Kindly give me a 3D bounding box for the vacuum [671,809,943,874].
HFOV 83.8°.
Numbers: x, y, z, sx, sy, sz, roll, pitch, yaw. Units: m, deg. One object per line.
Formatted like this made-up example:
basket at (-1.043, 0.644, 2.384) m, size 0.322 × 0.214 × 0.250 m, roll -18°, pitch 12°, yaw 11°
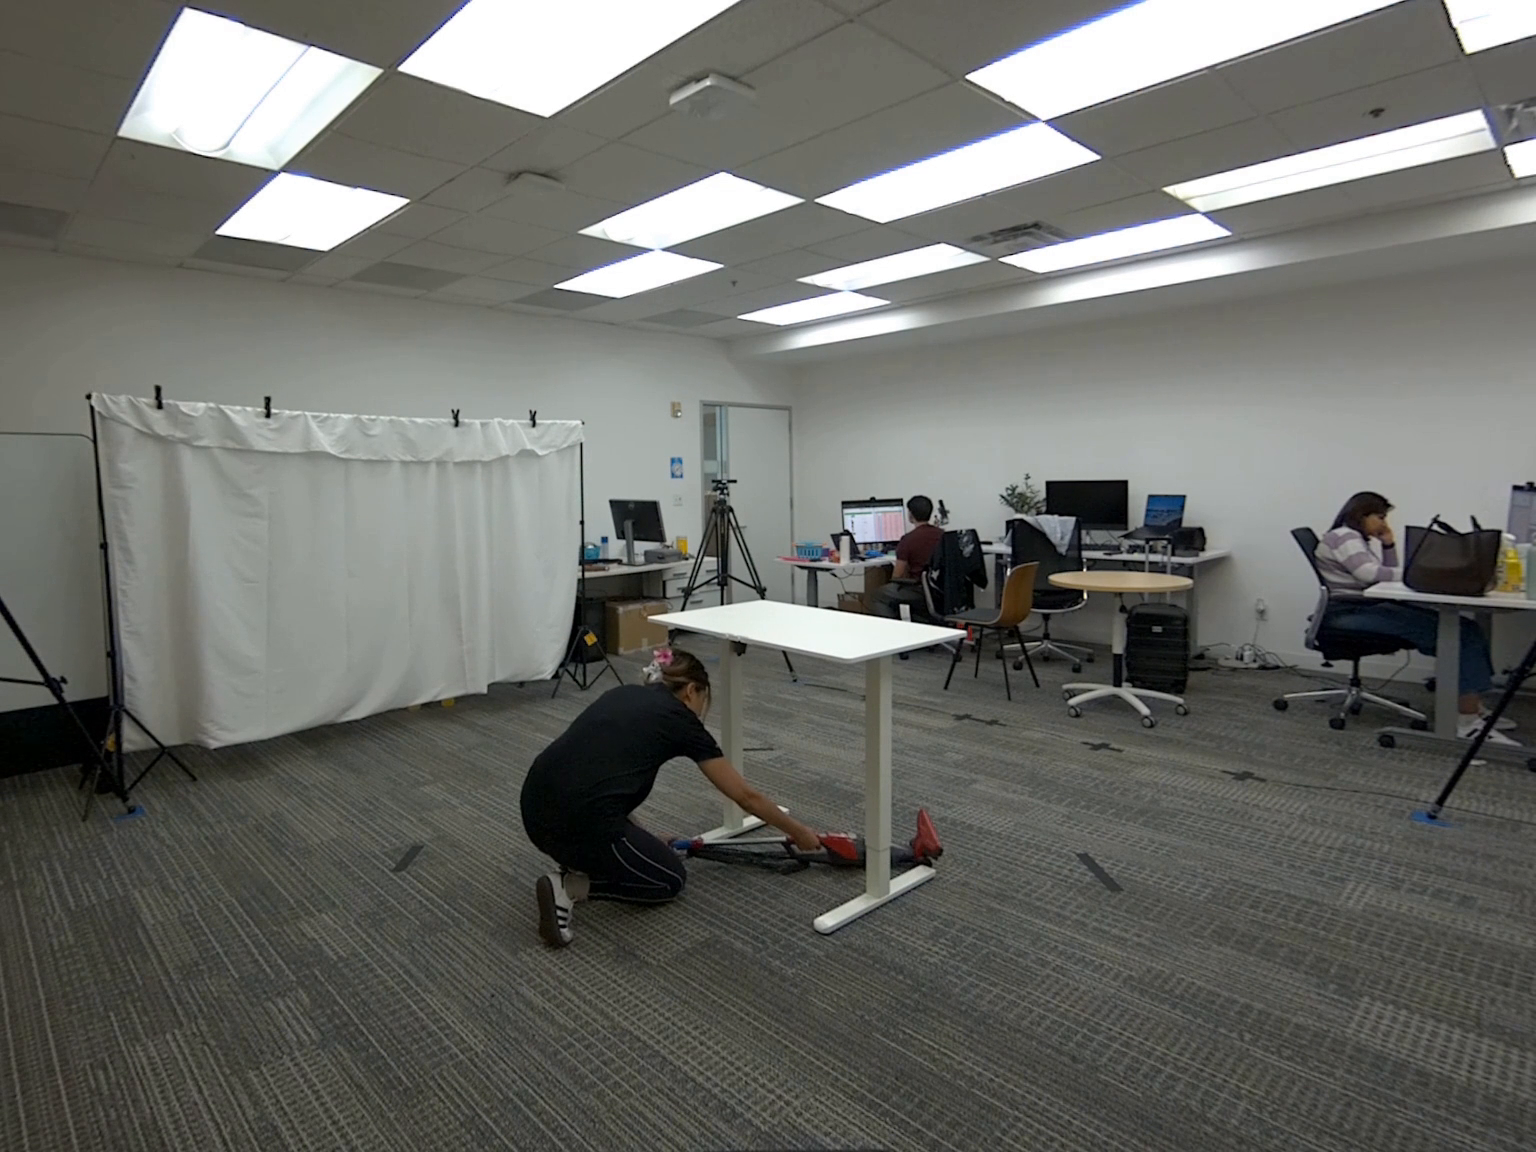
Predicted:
vacuum at (0.065, 0.982, 3.068) m, size 1.048 × 0.142 × 0.256 m, roll -3°, pitch 14°, yaw -1°
